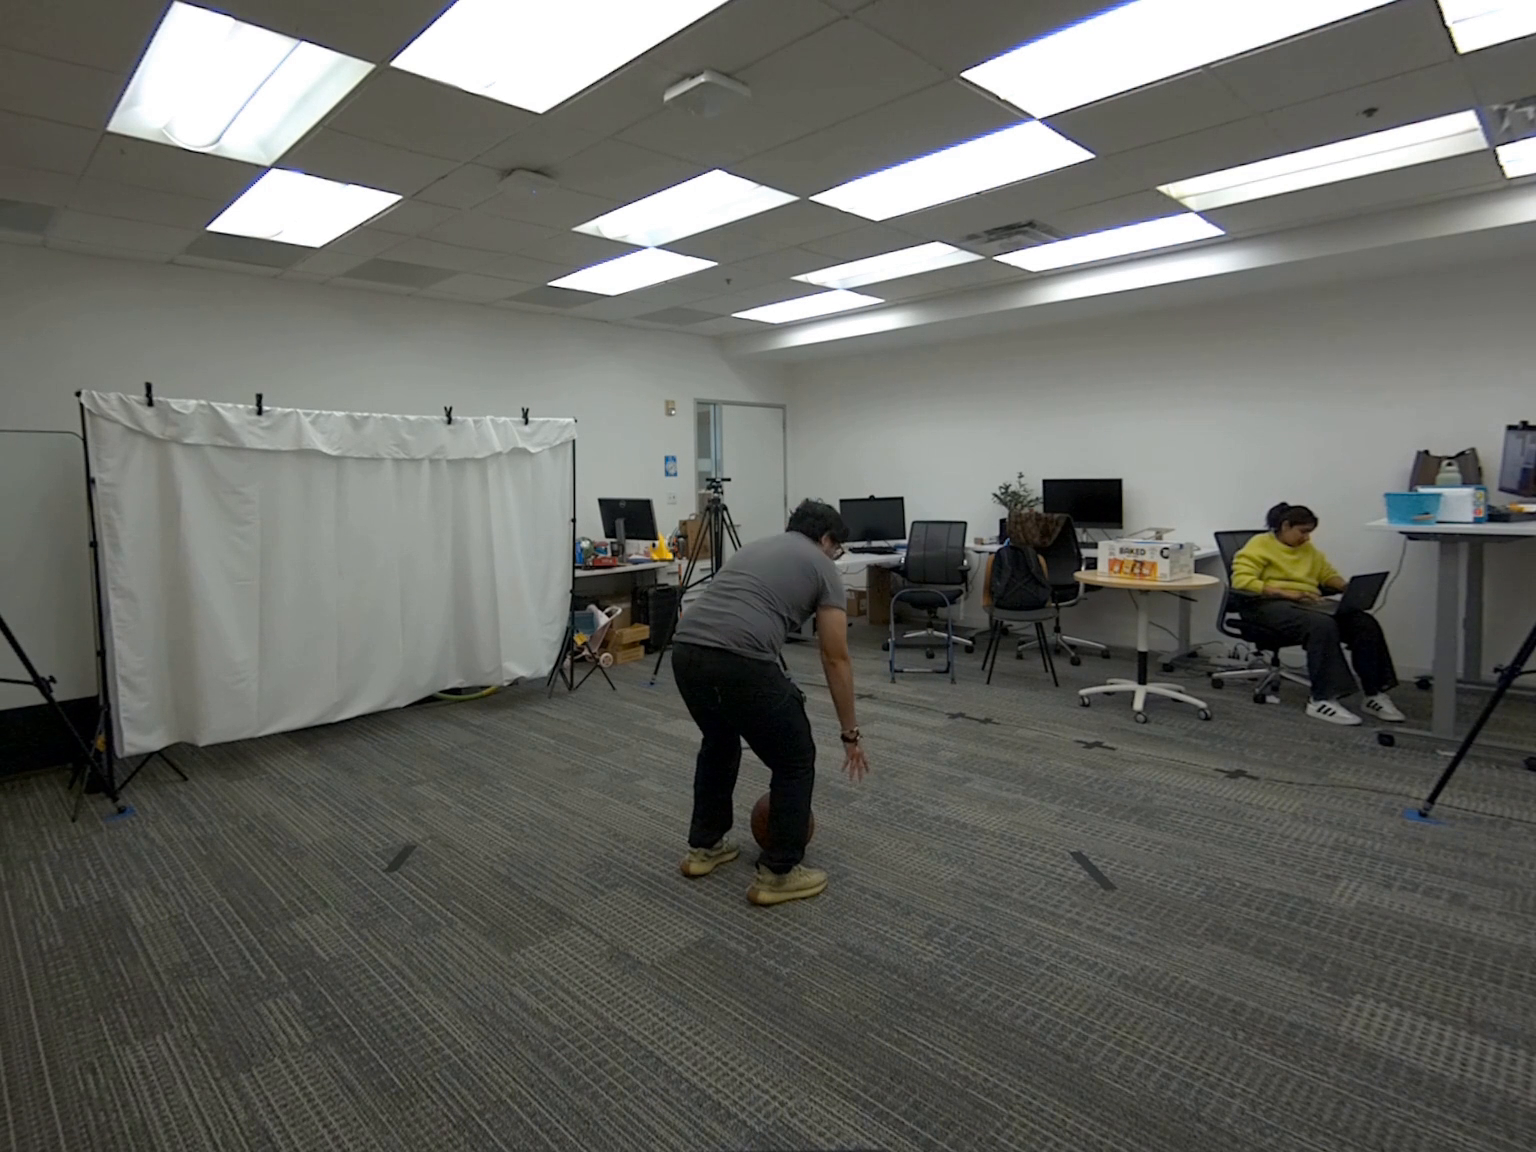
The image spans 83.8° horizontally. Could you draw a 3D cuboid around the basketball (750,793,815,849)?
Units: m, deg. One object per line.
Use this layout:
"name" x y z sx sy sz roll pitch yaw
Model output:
"basketball" 0.053 0.909 3.174 0.236 0.235 0.237 -1 5 -2
